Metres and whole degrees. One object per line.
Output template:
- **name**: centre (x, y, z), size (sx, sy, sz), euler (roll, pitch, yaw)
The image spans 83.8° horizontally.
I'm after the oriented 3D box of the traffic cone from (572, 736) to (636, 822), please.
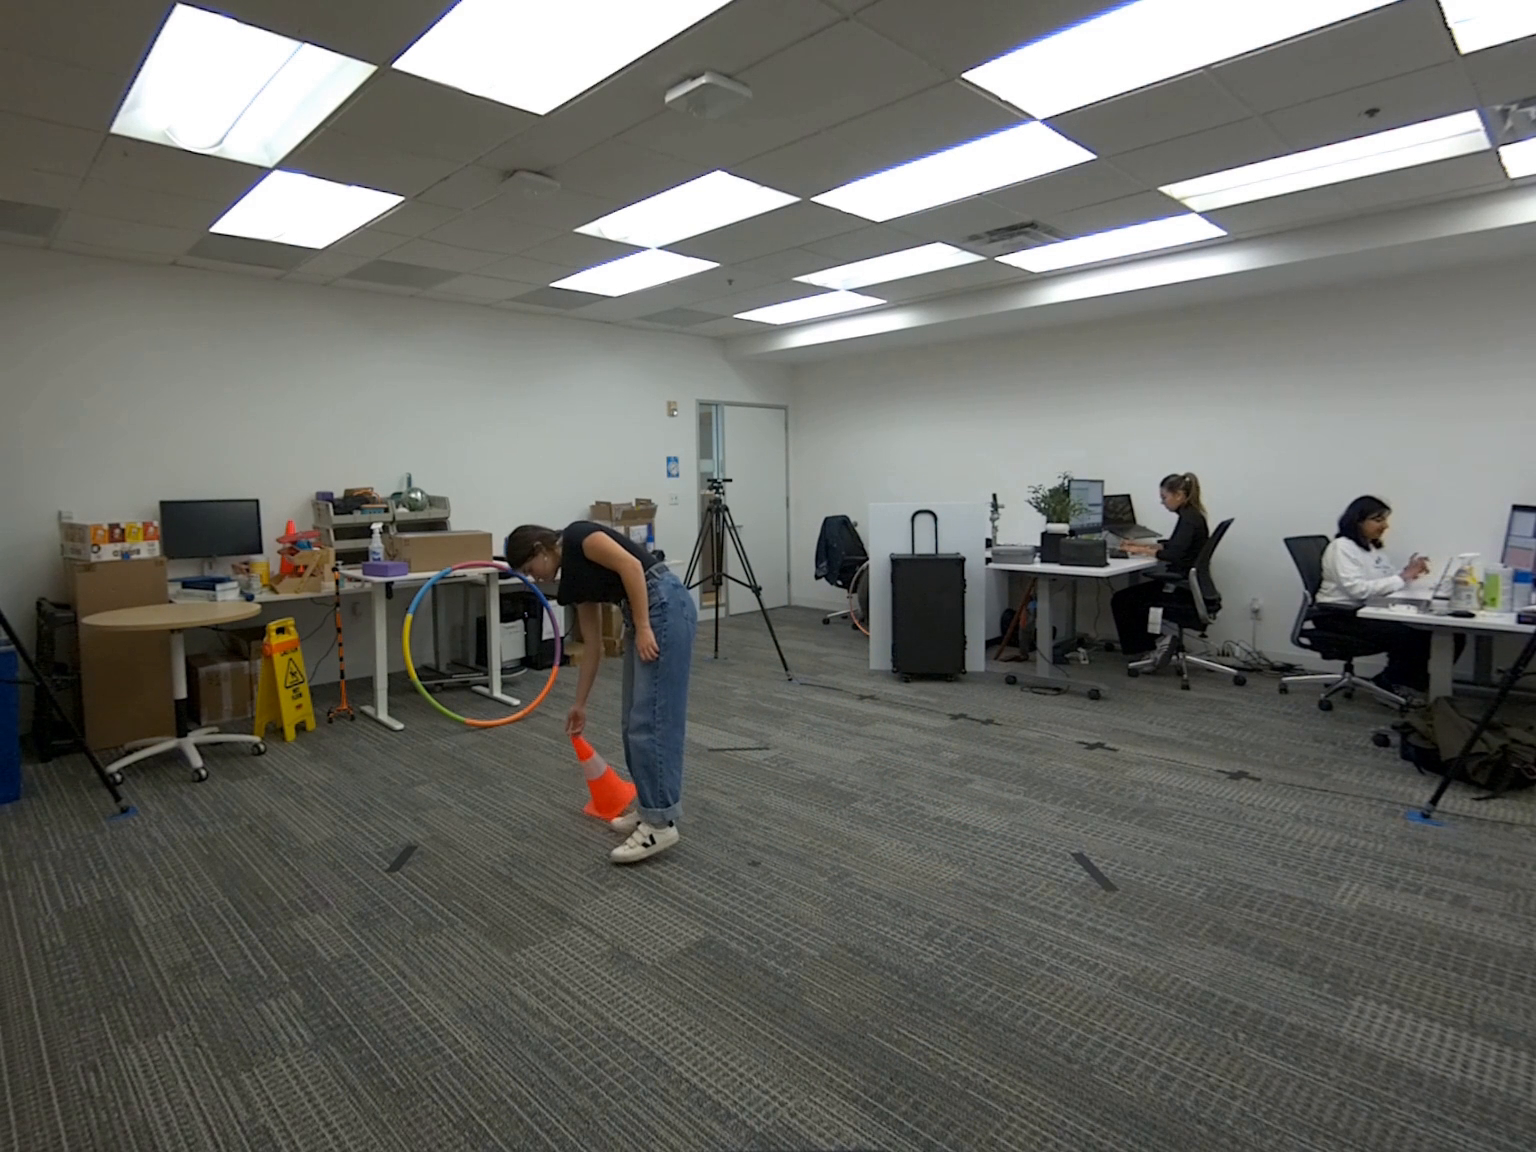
- **traffic cone**: centre (-0.725, 0.796, 3.569), size (0.209, 0.373, 0.205), euler (0, 32, 37)
